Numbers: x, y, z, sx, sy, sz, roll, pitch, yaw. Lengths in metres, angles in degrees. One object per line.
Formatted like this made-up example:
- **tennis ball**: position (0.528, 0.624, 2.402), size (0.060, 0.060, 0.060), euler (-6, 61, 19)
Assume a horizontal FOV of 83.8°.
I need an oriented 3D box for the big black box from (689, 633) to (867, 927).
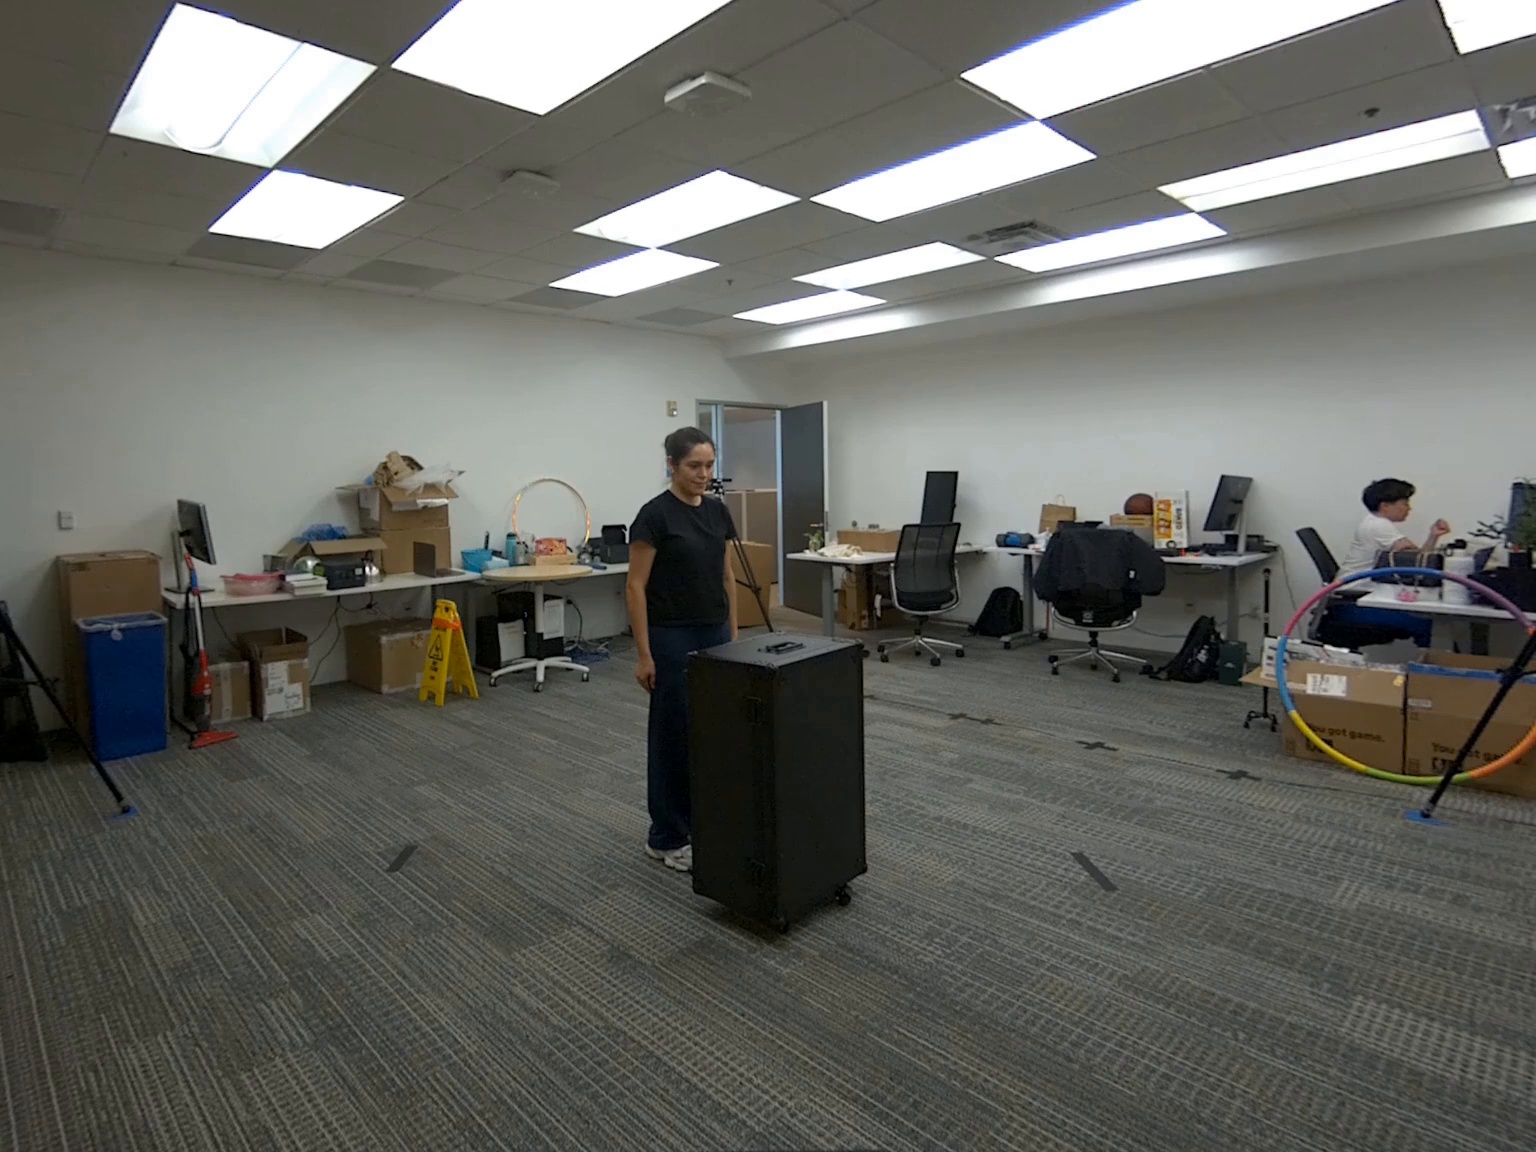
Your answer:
- **big black box**: position (0.044, 0.652, 2.796), size (0.408, 0.858, 0.507), euler (3, 5, 40)
